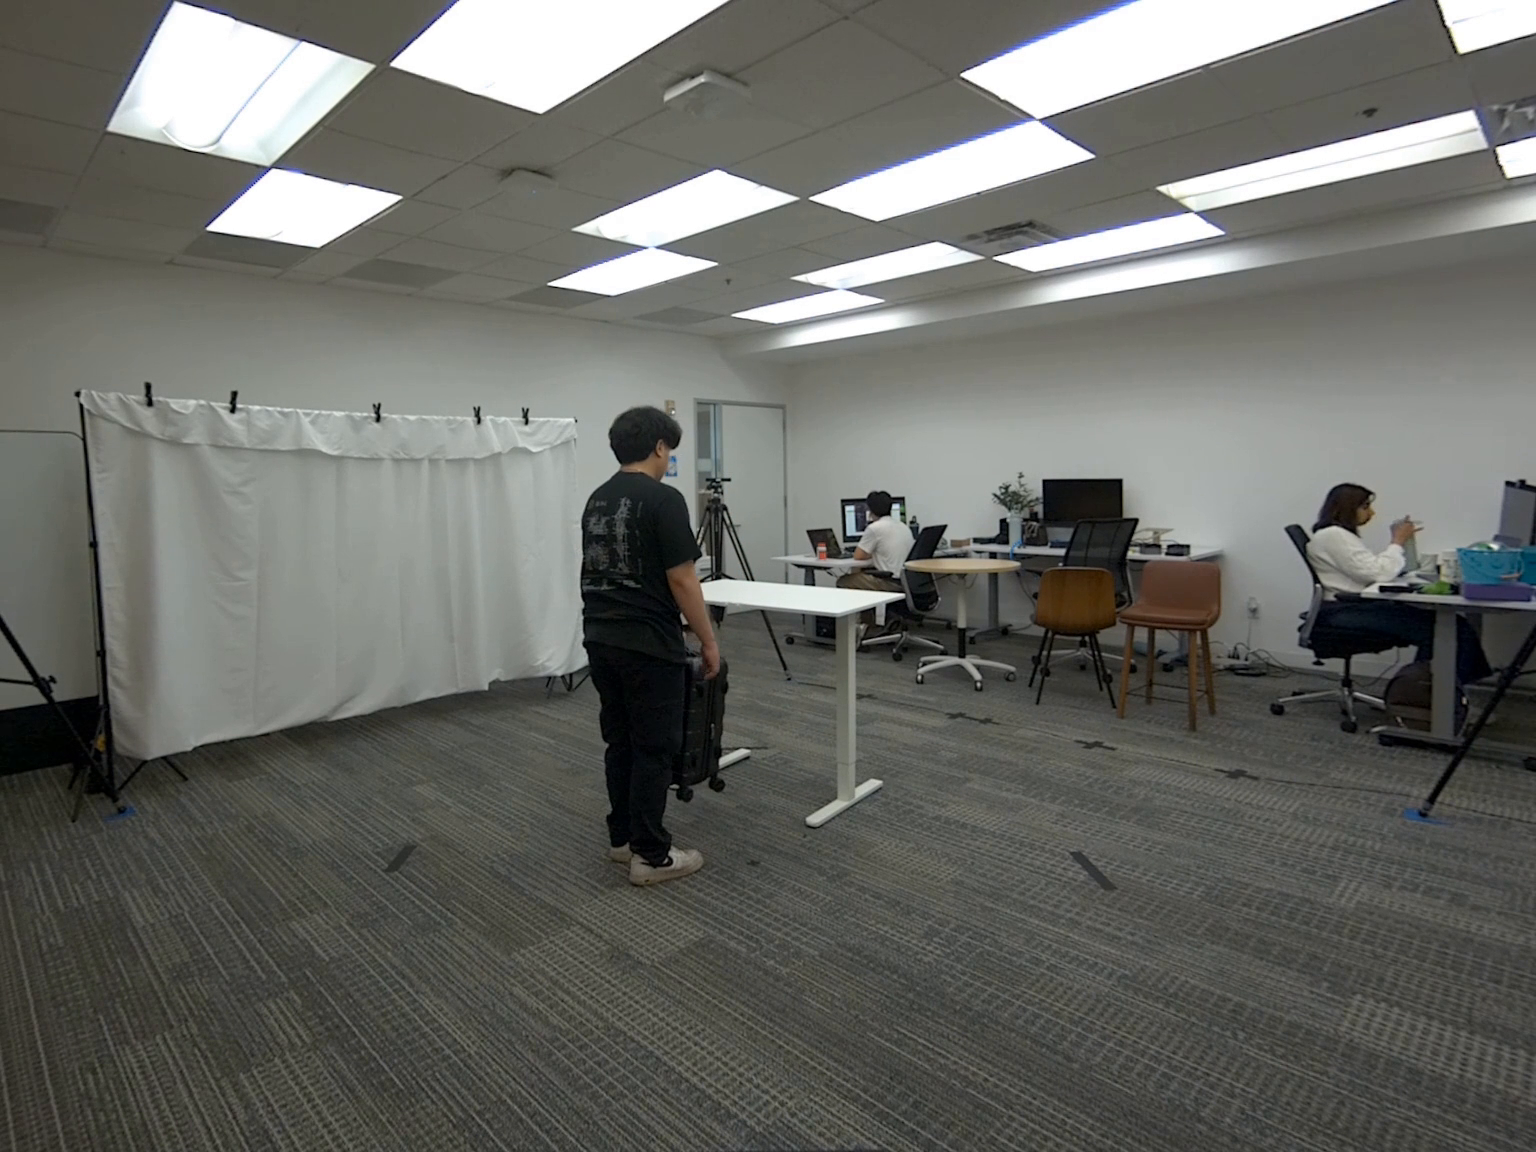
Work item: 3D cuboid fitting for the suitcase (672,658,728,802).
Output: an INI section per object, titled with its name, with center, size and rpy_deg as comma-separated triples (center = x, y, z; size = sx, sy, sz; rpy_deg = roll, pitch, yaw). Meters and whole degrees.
[suitcase]
center = -0.370, 0.556, 3.363
size = 0.387, 0.548, 0.241
rpy_deg = 6, 3, 34
